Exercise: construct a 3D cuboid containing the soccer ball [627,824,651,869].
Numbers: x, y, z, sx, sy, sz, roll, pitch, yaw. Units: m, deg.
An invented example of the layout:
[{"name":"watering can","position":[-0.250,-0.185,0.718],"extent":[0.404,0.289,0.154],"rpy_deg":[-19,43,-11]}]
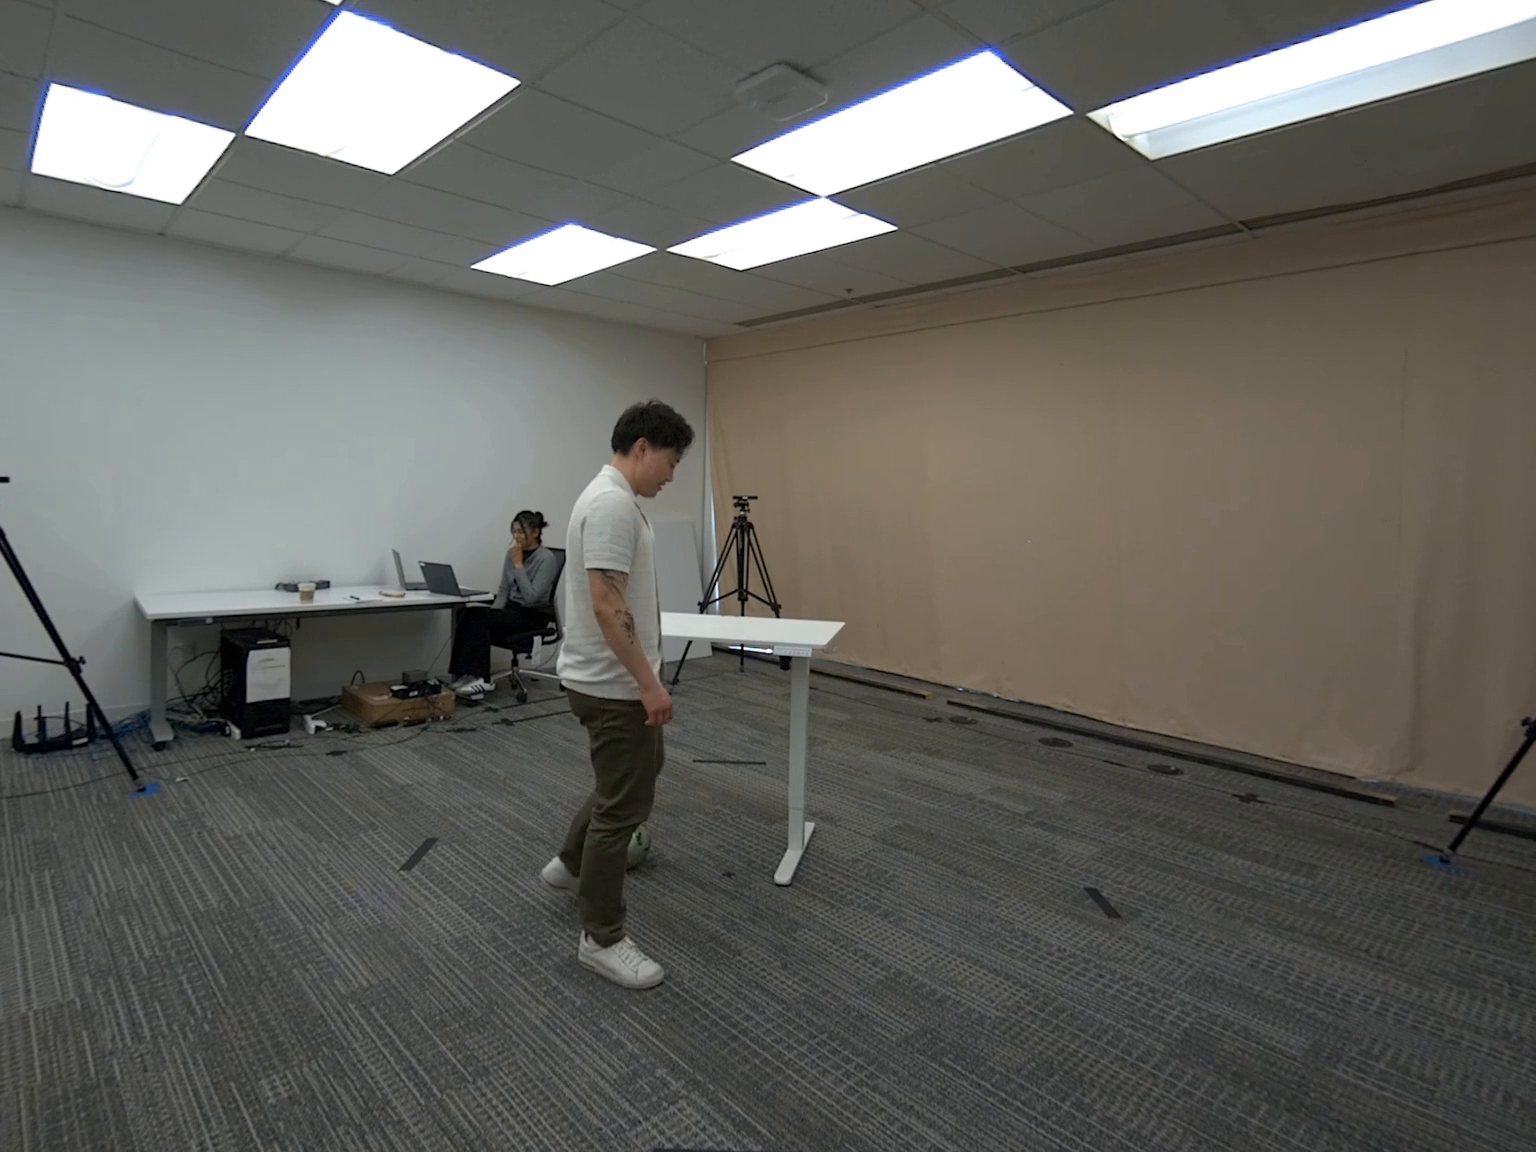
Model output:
[{"name":"soccer ball","position":[-0.537,0.995,3.140],"extent":[0.187,0.187,0.188],"rpy_deg":[1,4,-1]}]
